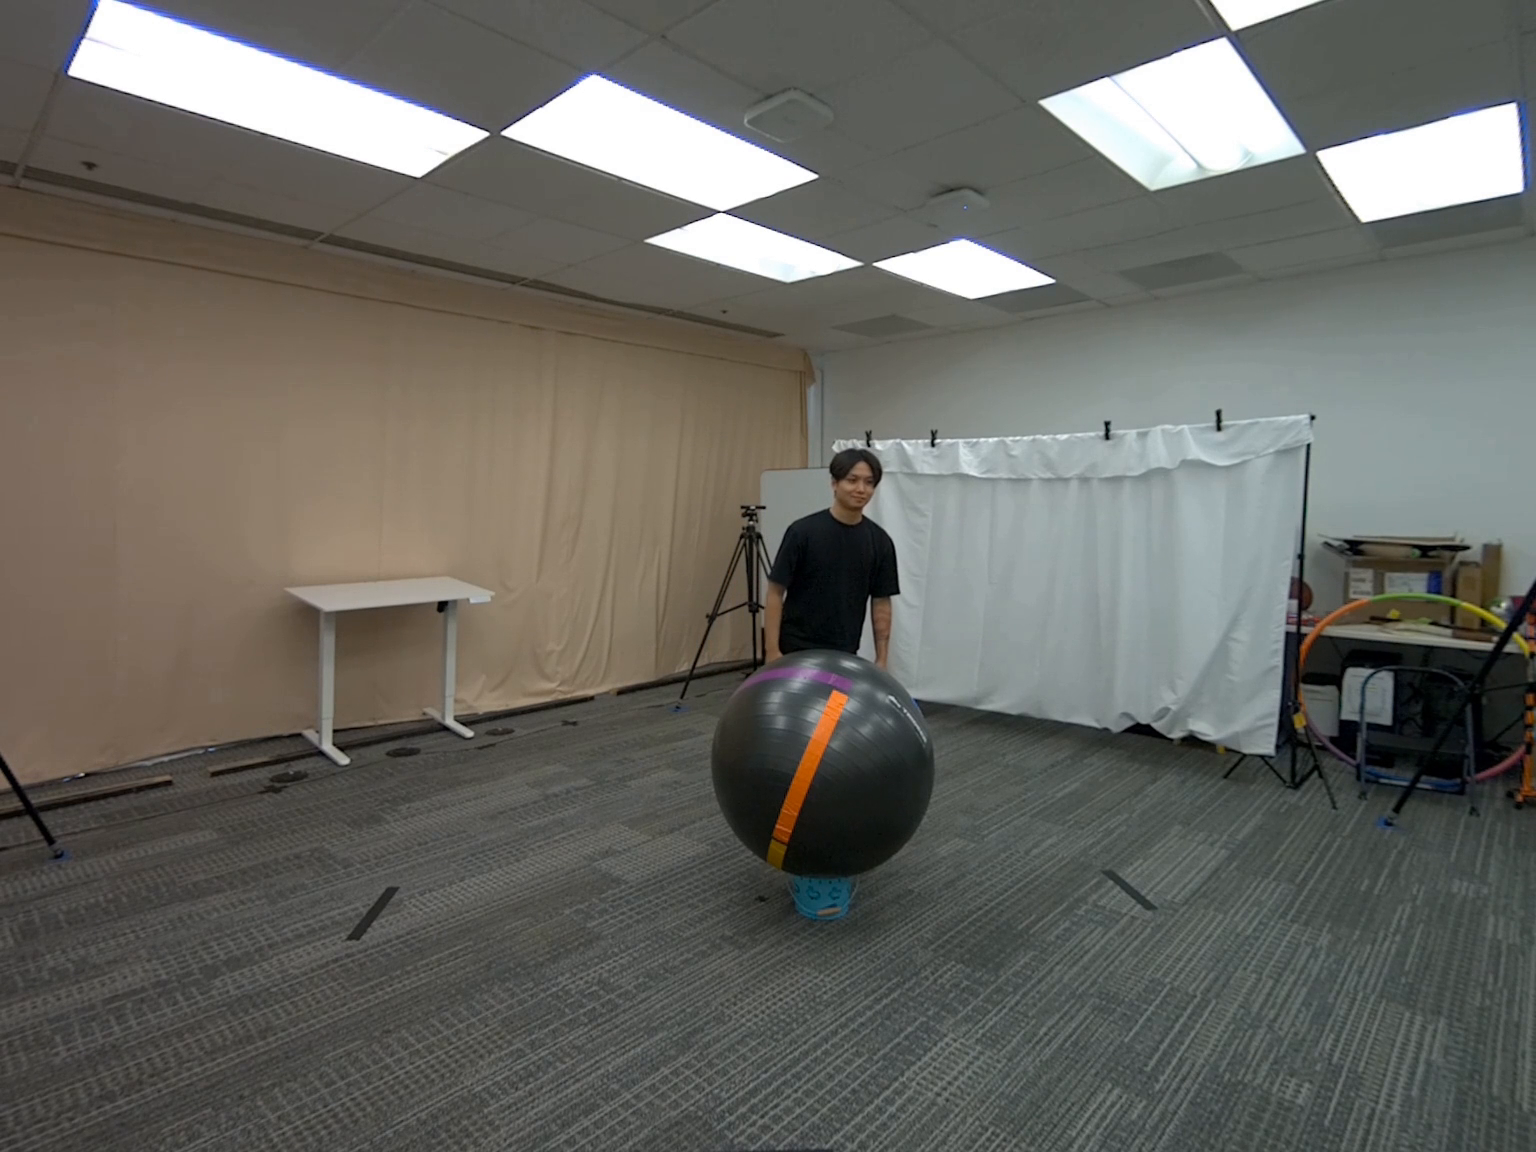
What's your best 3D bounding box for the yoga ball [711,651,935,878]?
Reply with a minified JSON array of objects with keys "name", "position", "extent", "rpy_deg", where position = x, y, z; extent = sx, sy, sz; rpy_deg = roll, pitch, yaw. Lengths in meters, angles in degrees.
[{"name":"yoga ball","position":[0.183,0.638,2.890],"extent":[0.757,0.756,0.760],"rpy_deg":[0,4,-2]}]
